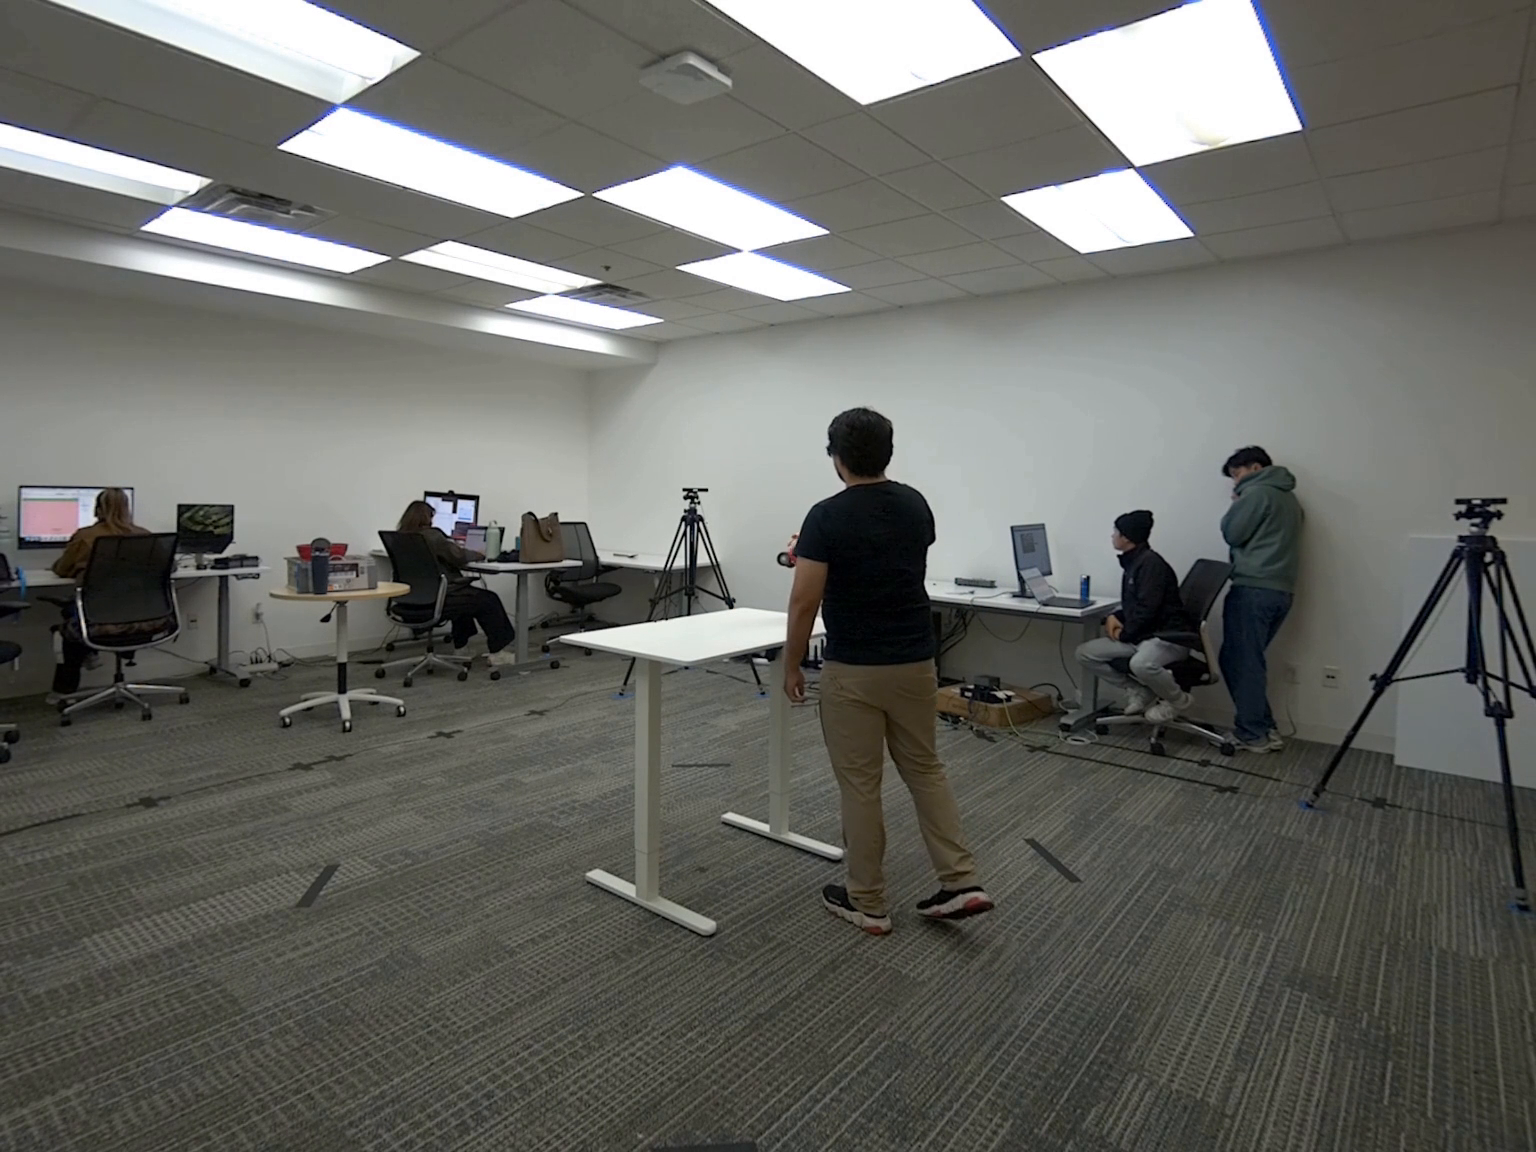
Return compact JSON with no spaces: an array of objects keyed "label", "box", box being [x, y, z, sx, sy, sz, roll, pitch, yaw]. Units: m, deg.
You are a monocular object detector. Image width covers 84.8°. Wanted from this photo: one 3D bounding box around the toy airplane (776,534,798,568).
[{"label":"toy airplane","box":[0.158,-0.044,3.218,0.255,0.156,0.255,40,10,-13]}]
